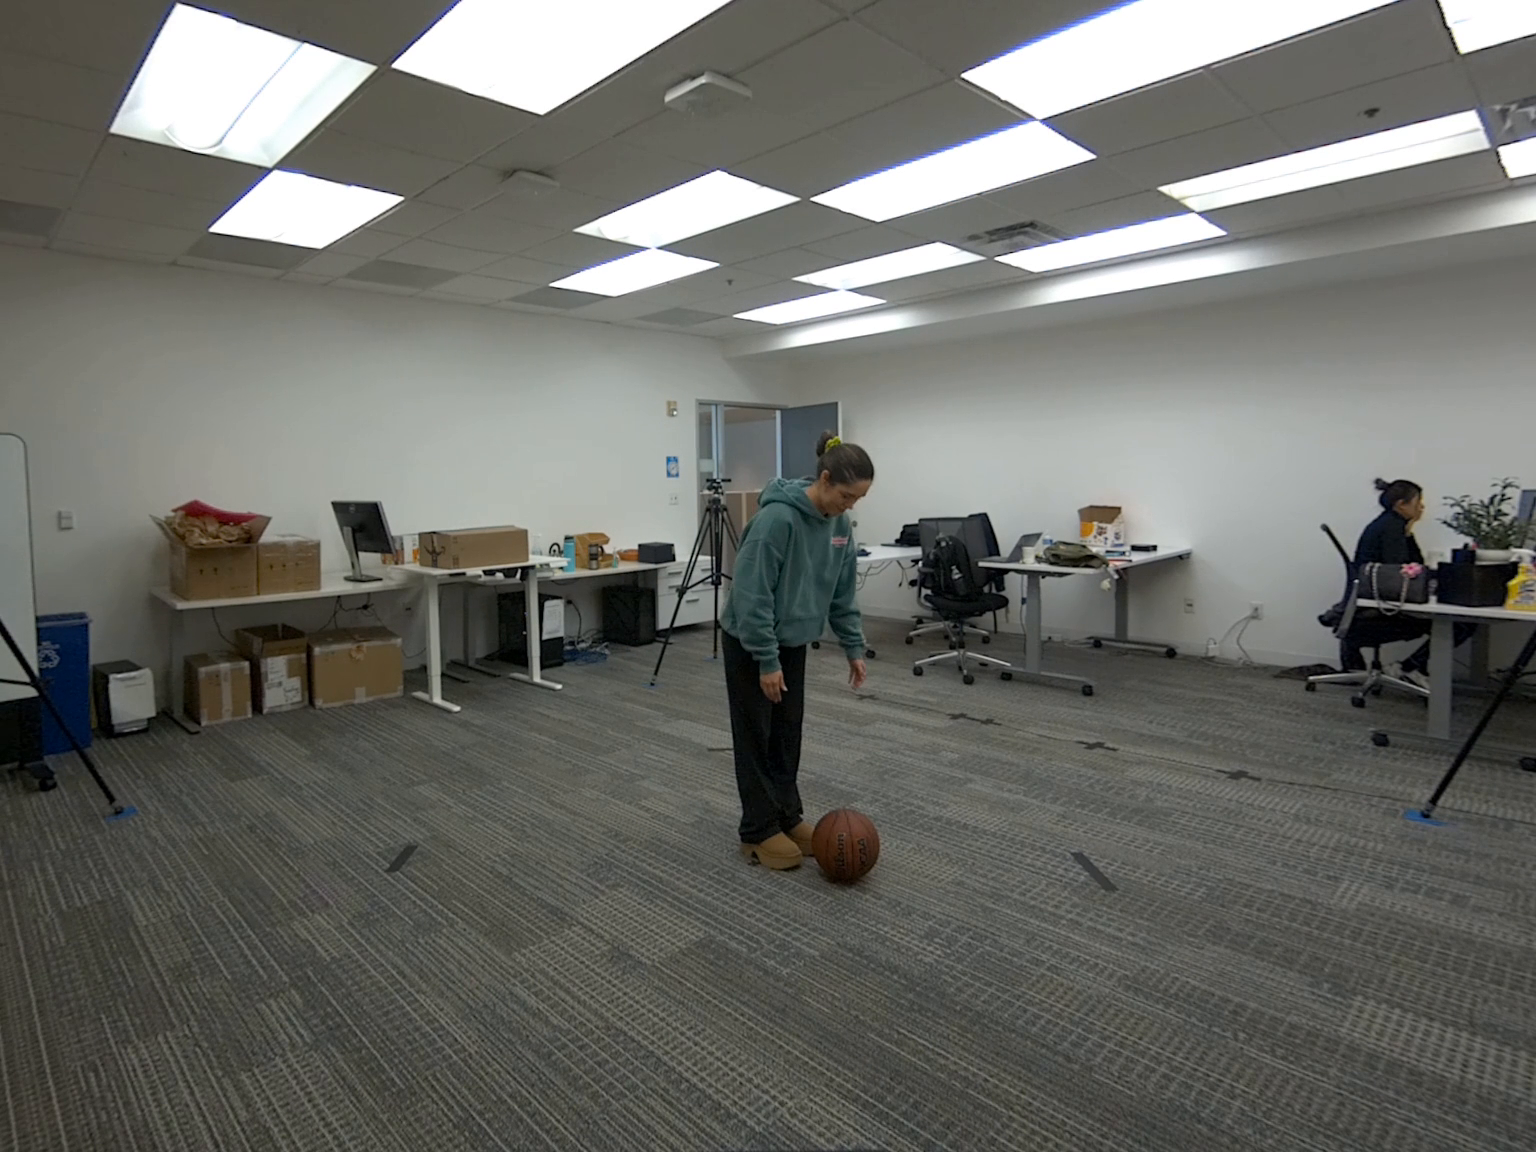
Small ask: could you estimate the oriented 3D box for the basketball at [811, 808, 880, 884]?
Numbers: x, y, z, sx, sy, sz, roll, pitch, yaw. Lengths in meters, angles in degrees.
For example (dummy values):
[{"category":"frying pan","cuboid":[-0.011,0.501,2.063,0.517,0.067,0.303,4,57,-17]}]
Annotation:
[{"category":"basketball","cuboid":[0.278,0.932,2.982,0.236,0.235,0.237,-1,5,-2]}]
